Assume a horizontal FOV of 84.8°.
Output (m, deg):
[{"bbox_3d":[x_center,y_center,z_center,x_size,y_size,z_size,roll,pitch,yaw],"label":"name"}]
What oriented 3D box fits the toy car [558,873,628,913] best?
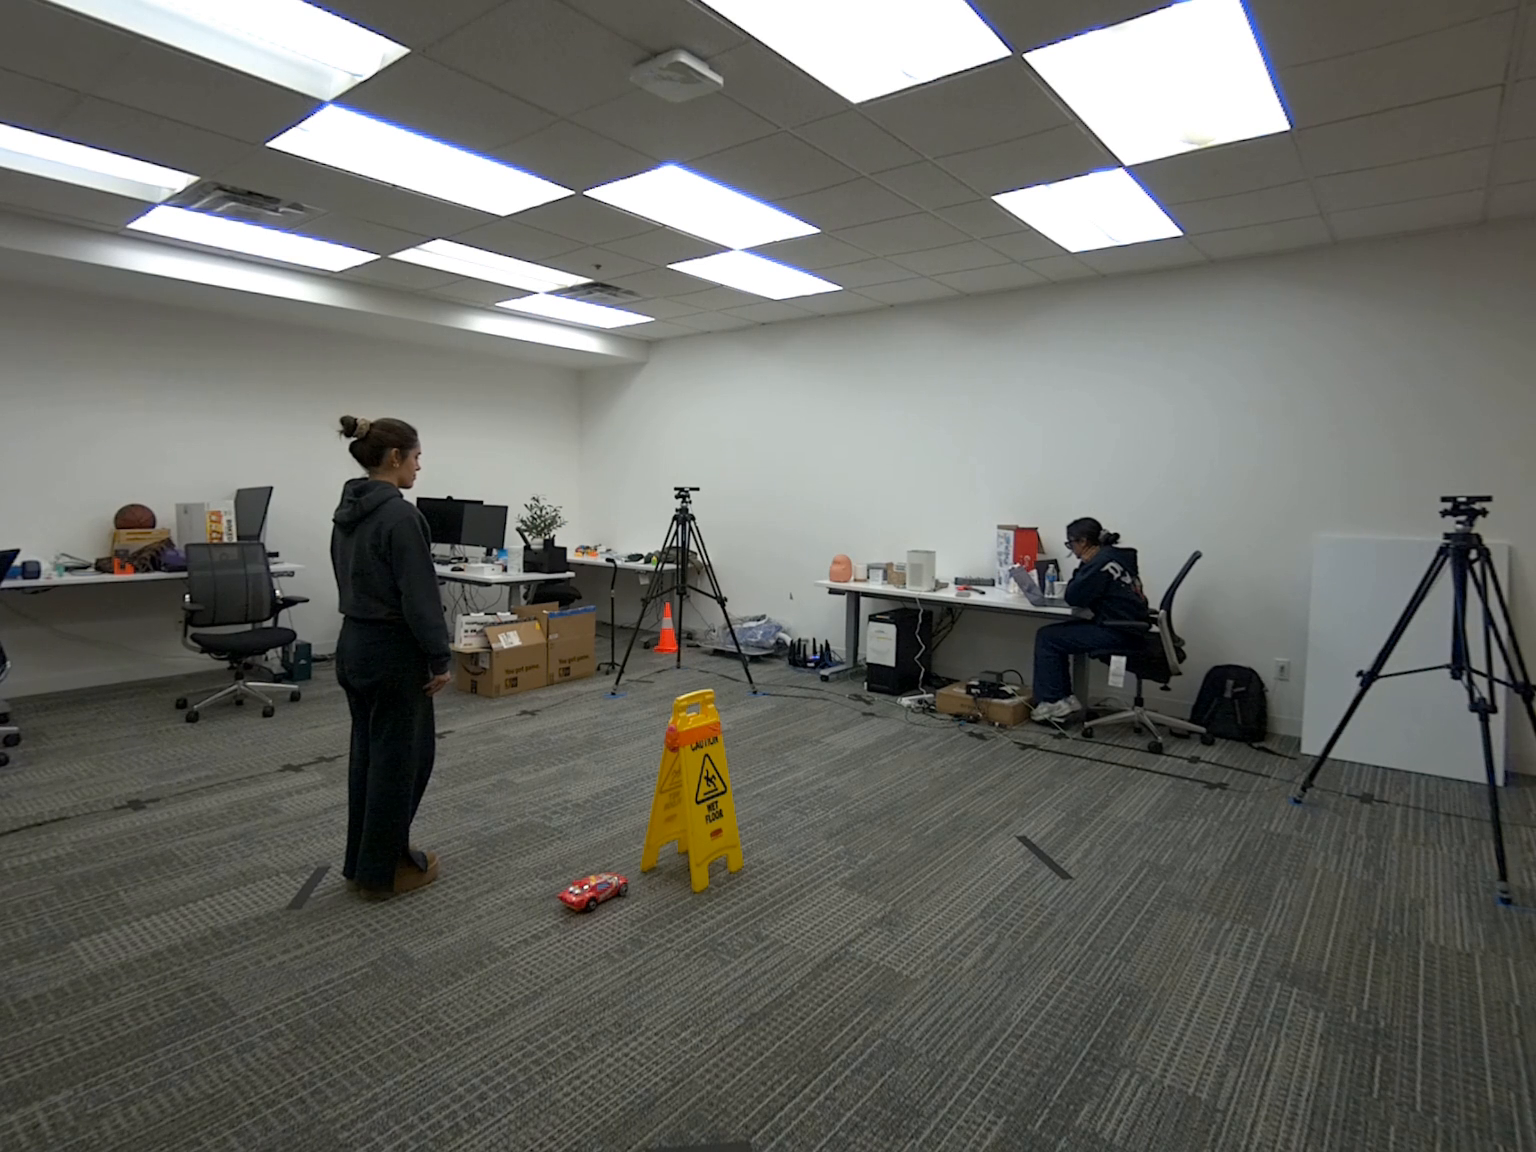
[{"bbox_3d":[-0.590,1.056,2.844,0.135,0.083,0.245,5,-4,39],"label":"toy car"}]
